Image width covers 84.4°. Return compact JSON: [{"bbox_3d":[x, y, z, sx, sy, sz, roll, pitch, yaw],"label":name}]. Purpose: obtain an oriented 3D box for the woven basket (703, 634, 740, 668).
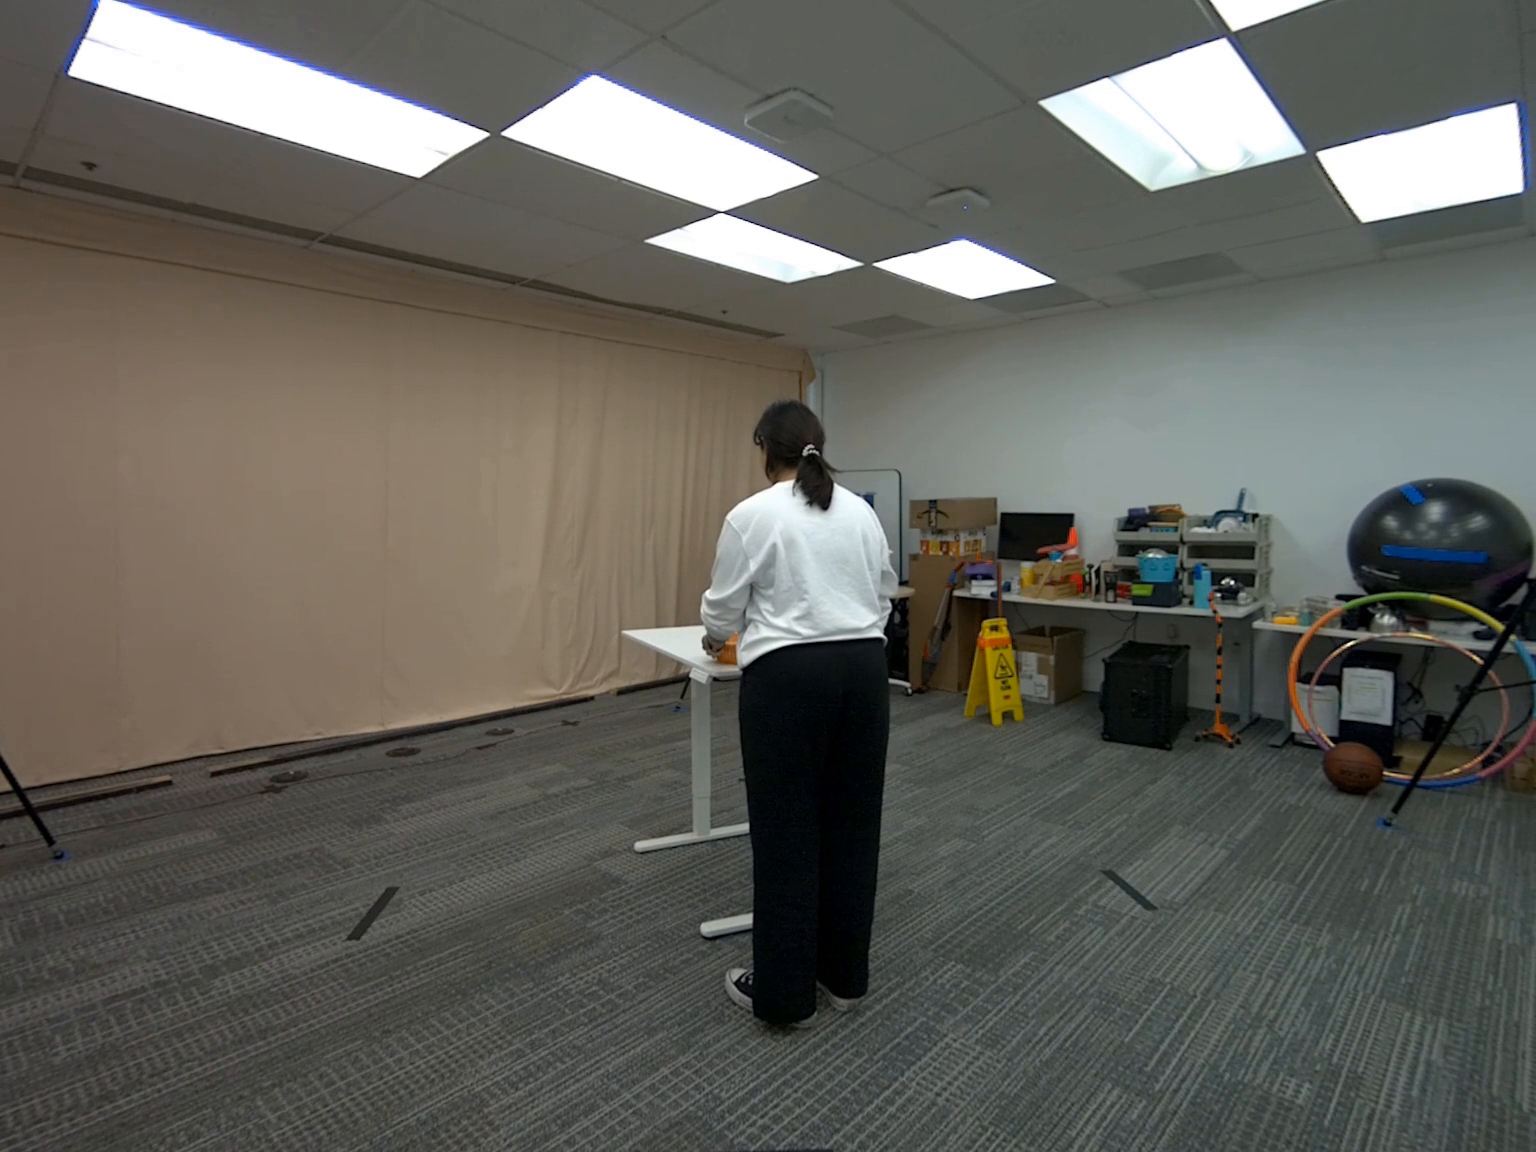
[{"bbox_3d":[-0.023,0.236,2.763,0.347,0.073,0.255,-1,2,-10],"label":"woven basket"}]
